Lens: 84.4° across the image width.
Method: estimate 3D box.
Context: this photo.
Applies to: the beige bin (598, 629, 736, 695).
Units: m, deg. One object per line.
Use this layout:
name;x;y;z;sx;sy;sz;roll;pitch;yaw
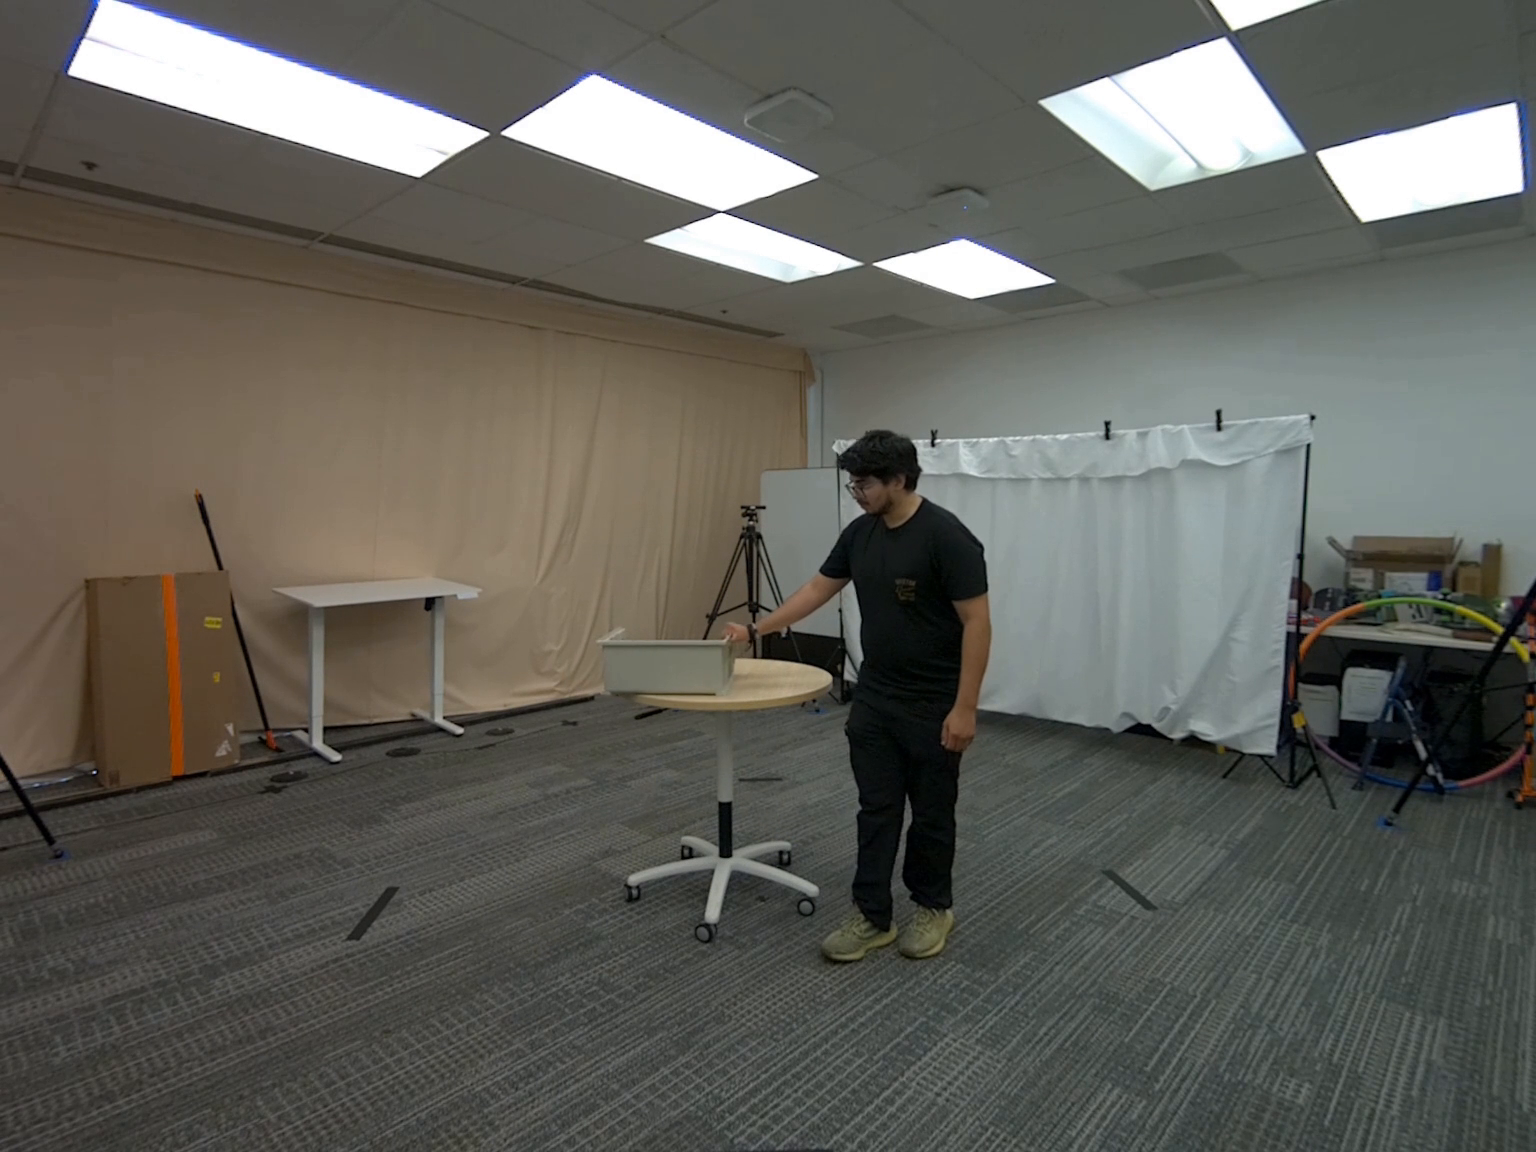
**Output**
beige bin;-0.324;0.279;2.882;0.425;0.188;0.376;1;5;6
